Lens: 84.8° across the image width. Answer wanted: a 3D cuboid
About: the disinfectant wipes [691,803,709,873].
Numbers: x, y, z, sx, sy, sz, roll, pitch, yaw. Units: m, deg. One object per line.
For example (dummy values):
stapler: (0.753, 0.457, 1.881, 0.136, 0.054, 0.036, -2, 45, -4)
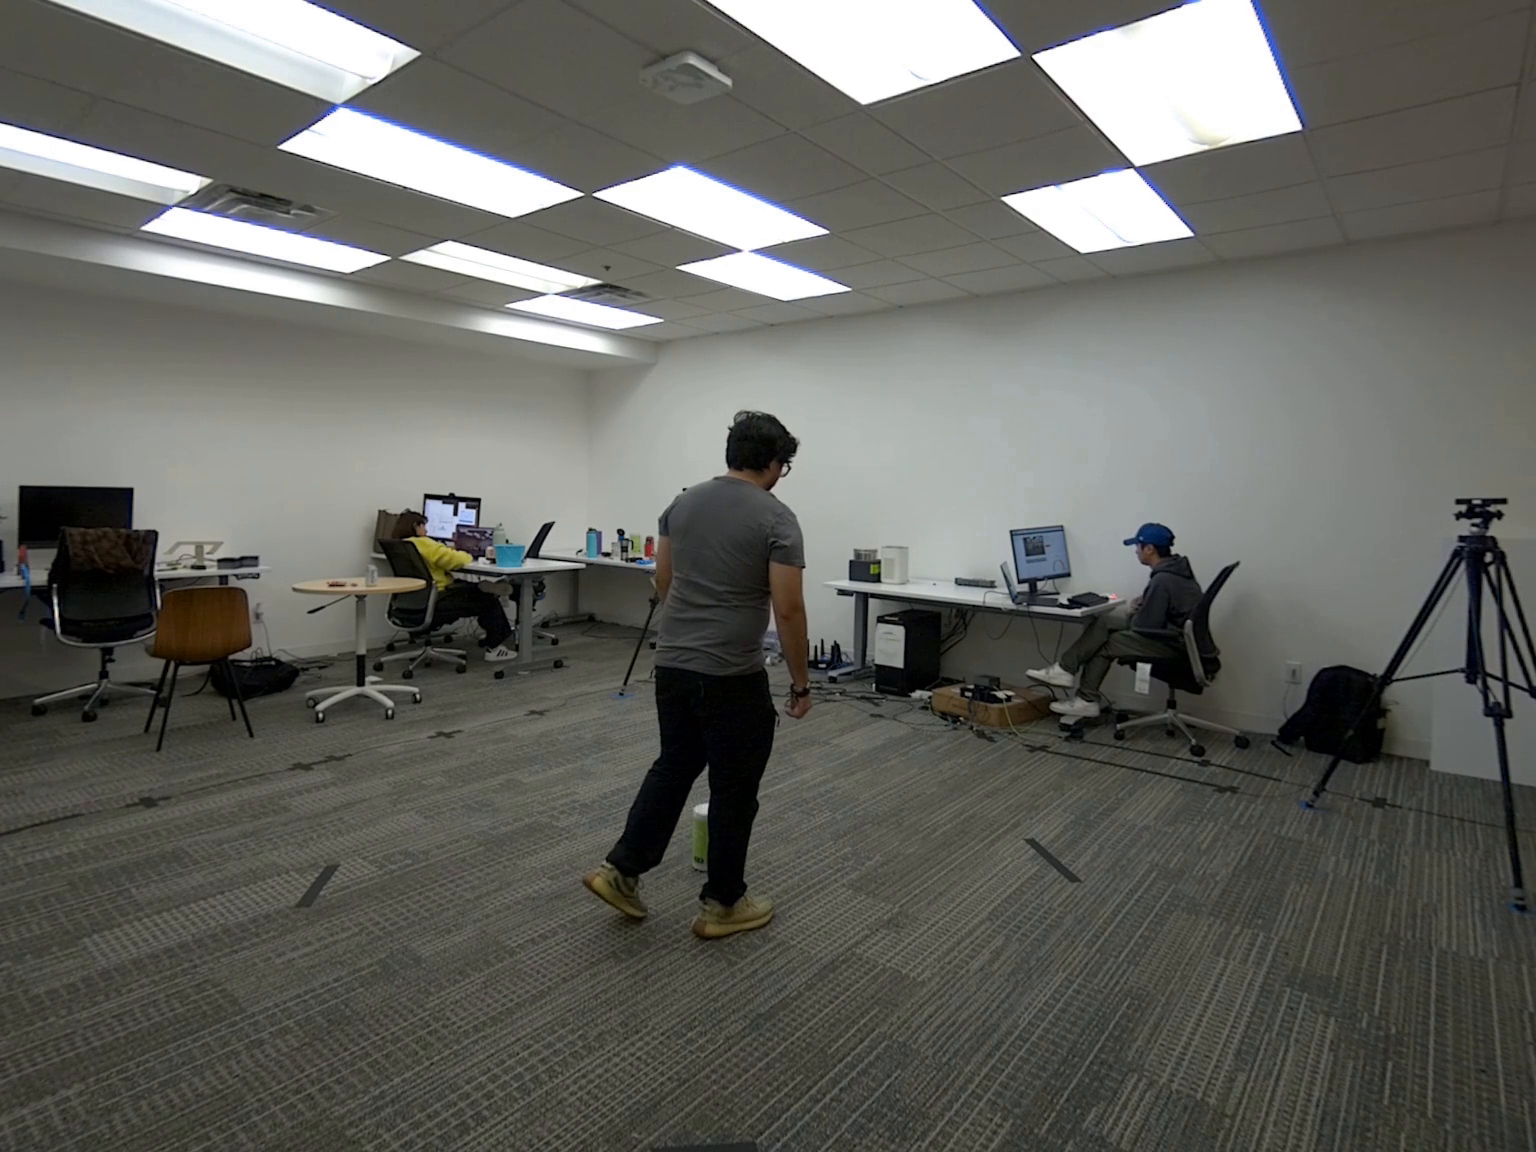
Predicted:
disinfectant wipes: (-0.233, 0.962, 3.142, 0.118, 0.217, 0.118, 1, 2, -2)
